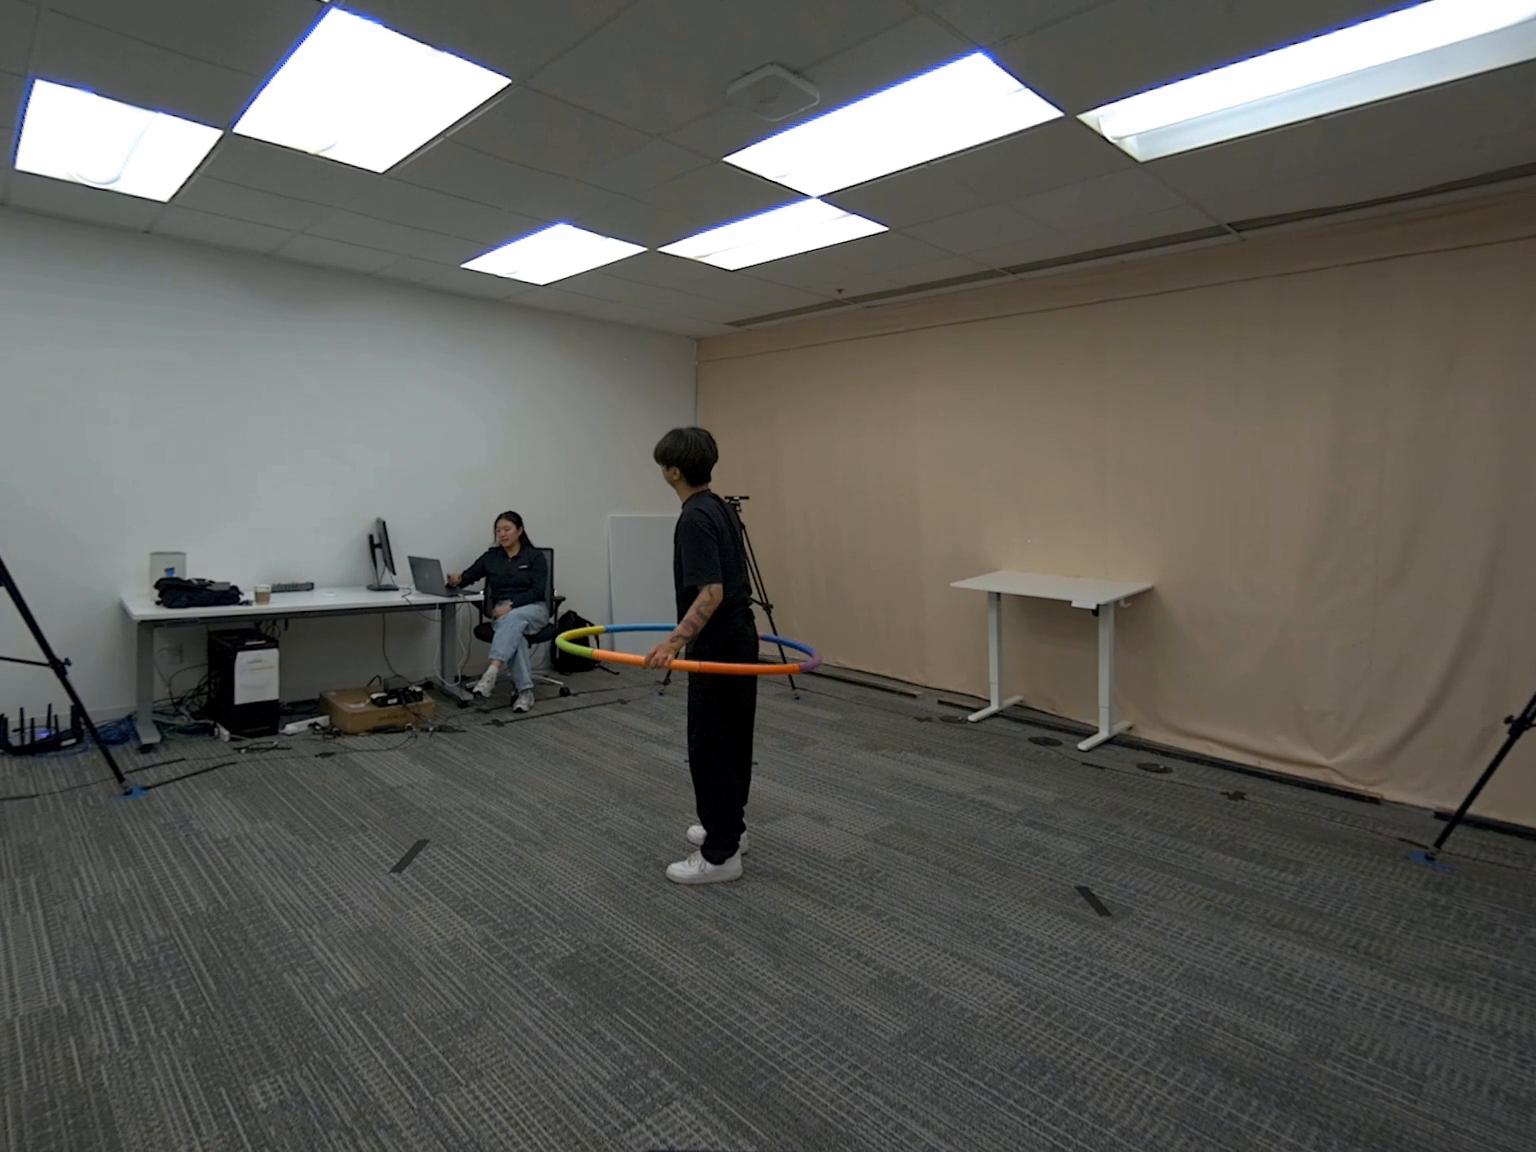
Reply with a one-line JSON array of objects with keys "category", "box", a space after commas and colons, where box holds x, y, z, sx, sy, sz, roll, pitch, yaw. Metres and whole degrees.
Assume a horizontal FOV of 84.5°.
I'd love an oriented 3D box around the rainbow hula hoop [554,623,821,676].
[{"category": "rainbow hula hoop", "box": [-0.292, 0.253, 3.159, 0.978, 0.035, 0.981, 4, 4, -2]}]
